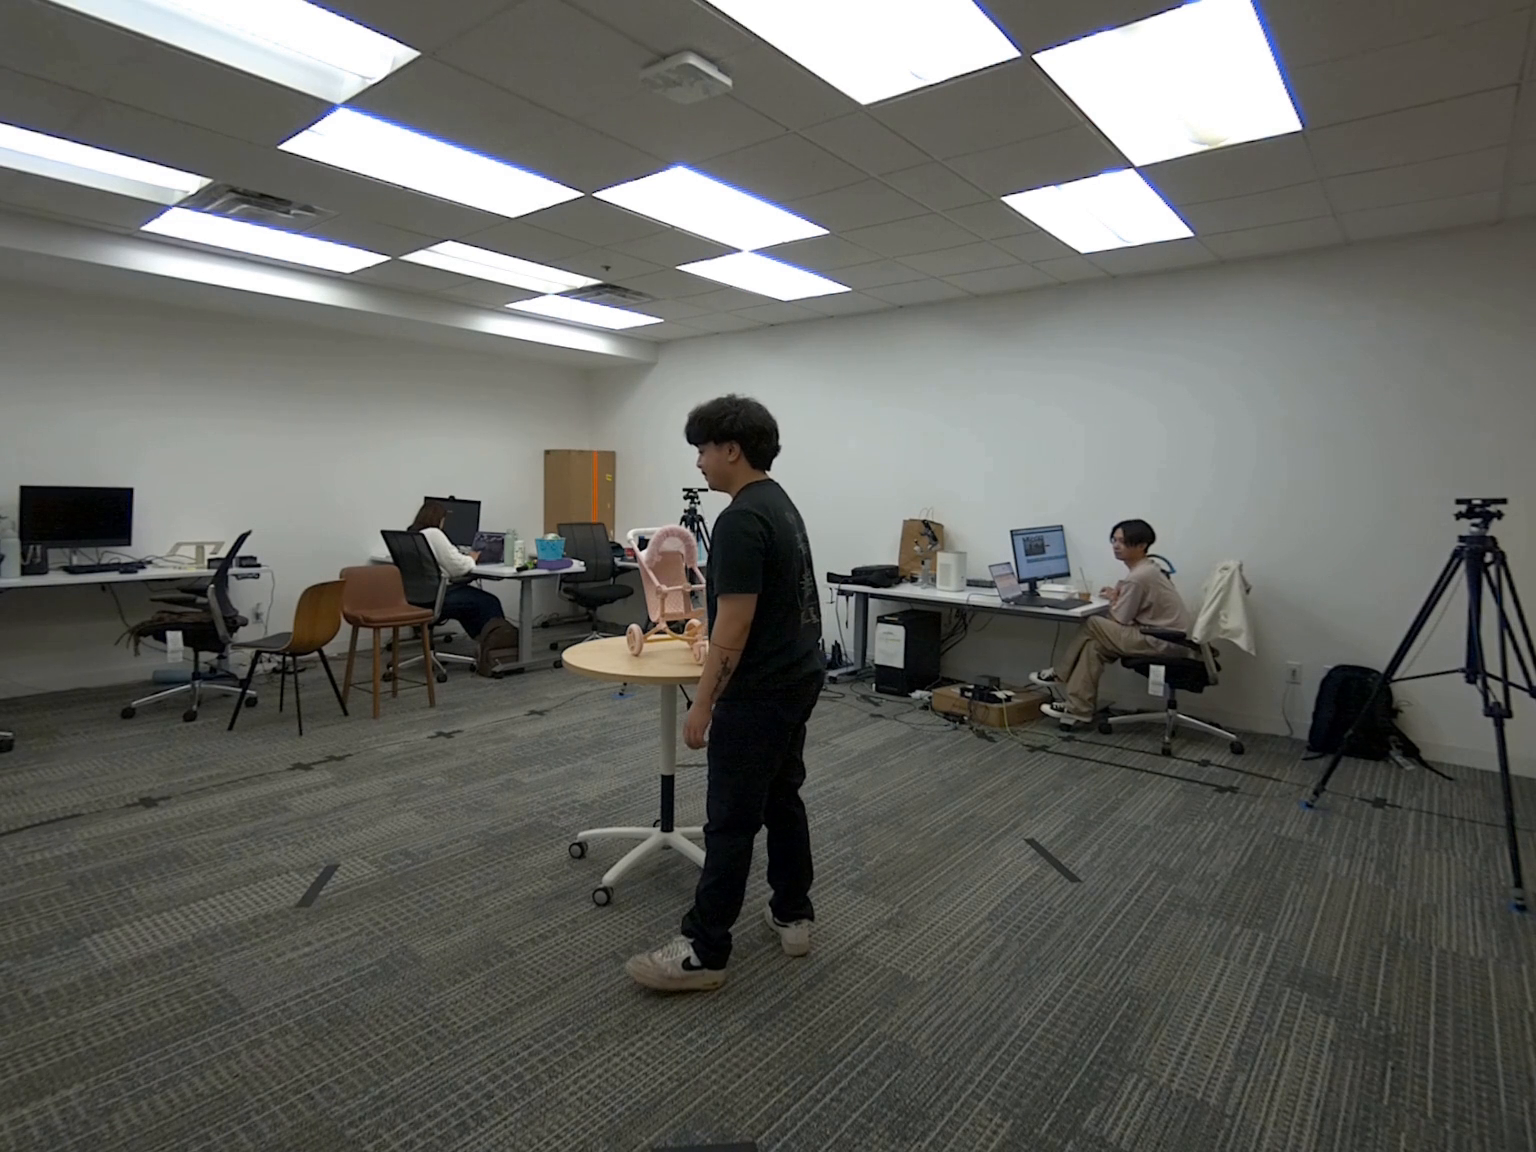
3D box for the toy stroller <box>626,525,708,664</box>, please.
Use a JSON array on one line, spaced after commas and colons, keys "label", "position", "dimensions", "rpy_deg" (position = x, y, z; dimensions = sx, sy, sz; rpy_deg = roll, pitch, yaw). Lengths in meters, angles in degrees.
[{"label": "toy stroller", "position": [-0.344, 0.054, 3.025], "dimensions": [0.274, 0.540, 0.346], "rpy_deg": [-2, -10, -28]}]
